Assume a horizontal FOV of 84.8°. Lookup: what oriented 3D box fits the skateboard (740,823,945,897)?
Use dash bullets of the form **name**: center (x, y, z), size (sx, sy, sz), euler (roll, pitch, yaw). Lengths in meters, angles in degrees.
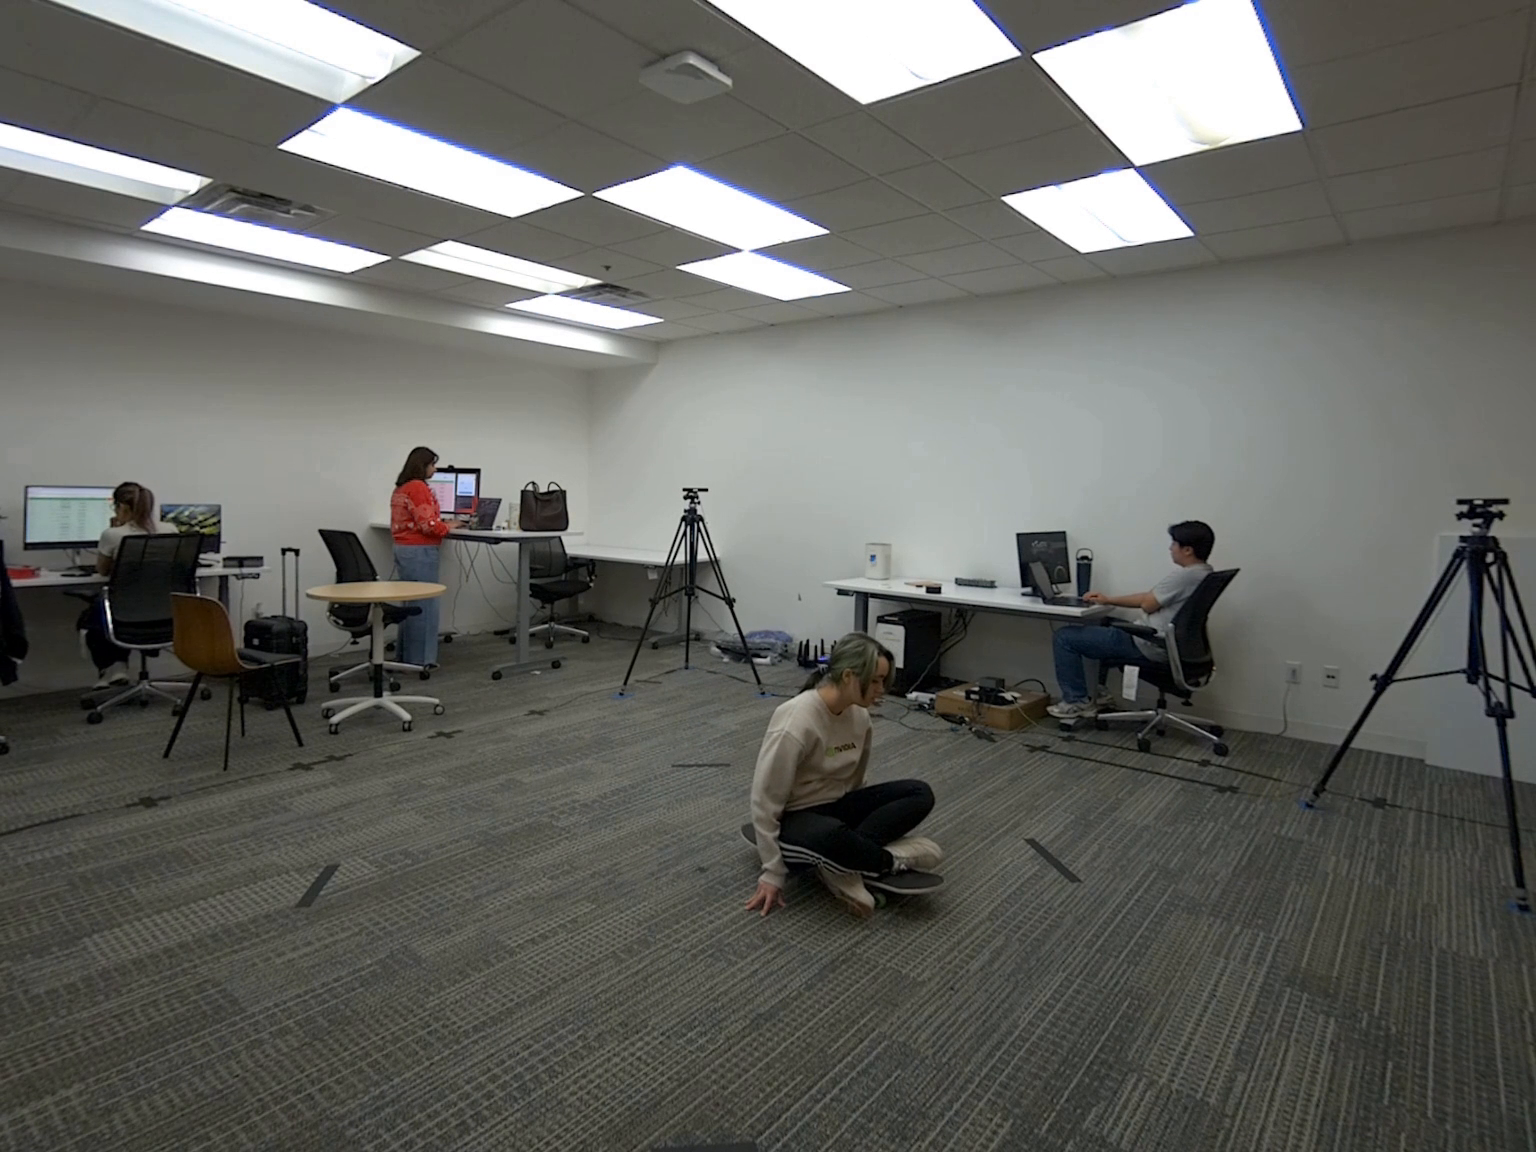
- **skateboard**: center (0.245, 1.034, 3.026), size (0.808, 0.110, 0.188), euler (3, 3, 30)
